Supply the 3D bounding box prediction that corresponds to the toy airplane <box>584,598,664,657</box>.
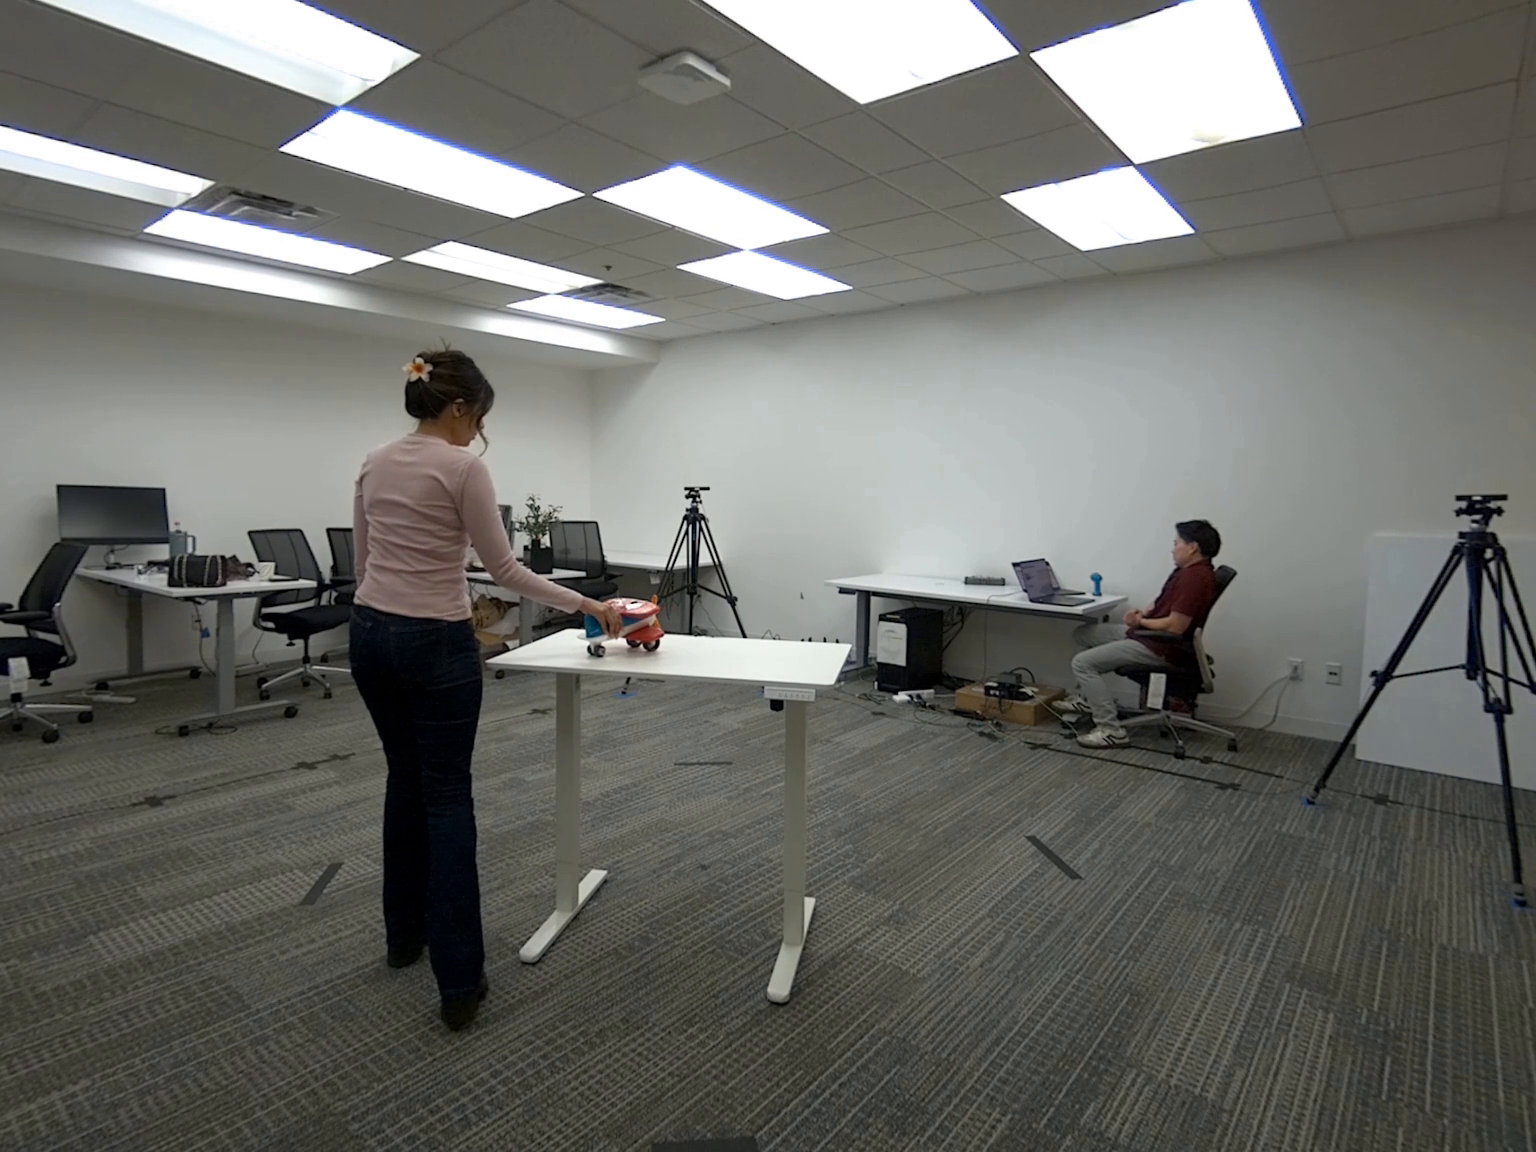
[{"bbox_3d":[-0.447,0.159,2.596,0.256,0.156,0.255,1,3,18],"label":"toy airplane"}]
